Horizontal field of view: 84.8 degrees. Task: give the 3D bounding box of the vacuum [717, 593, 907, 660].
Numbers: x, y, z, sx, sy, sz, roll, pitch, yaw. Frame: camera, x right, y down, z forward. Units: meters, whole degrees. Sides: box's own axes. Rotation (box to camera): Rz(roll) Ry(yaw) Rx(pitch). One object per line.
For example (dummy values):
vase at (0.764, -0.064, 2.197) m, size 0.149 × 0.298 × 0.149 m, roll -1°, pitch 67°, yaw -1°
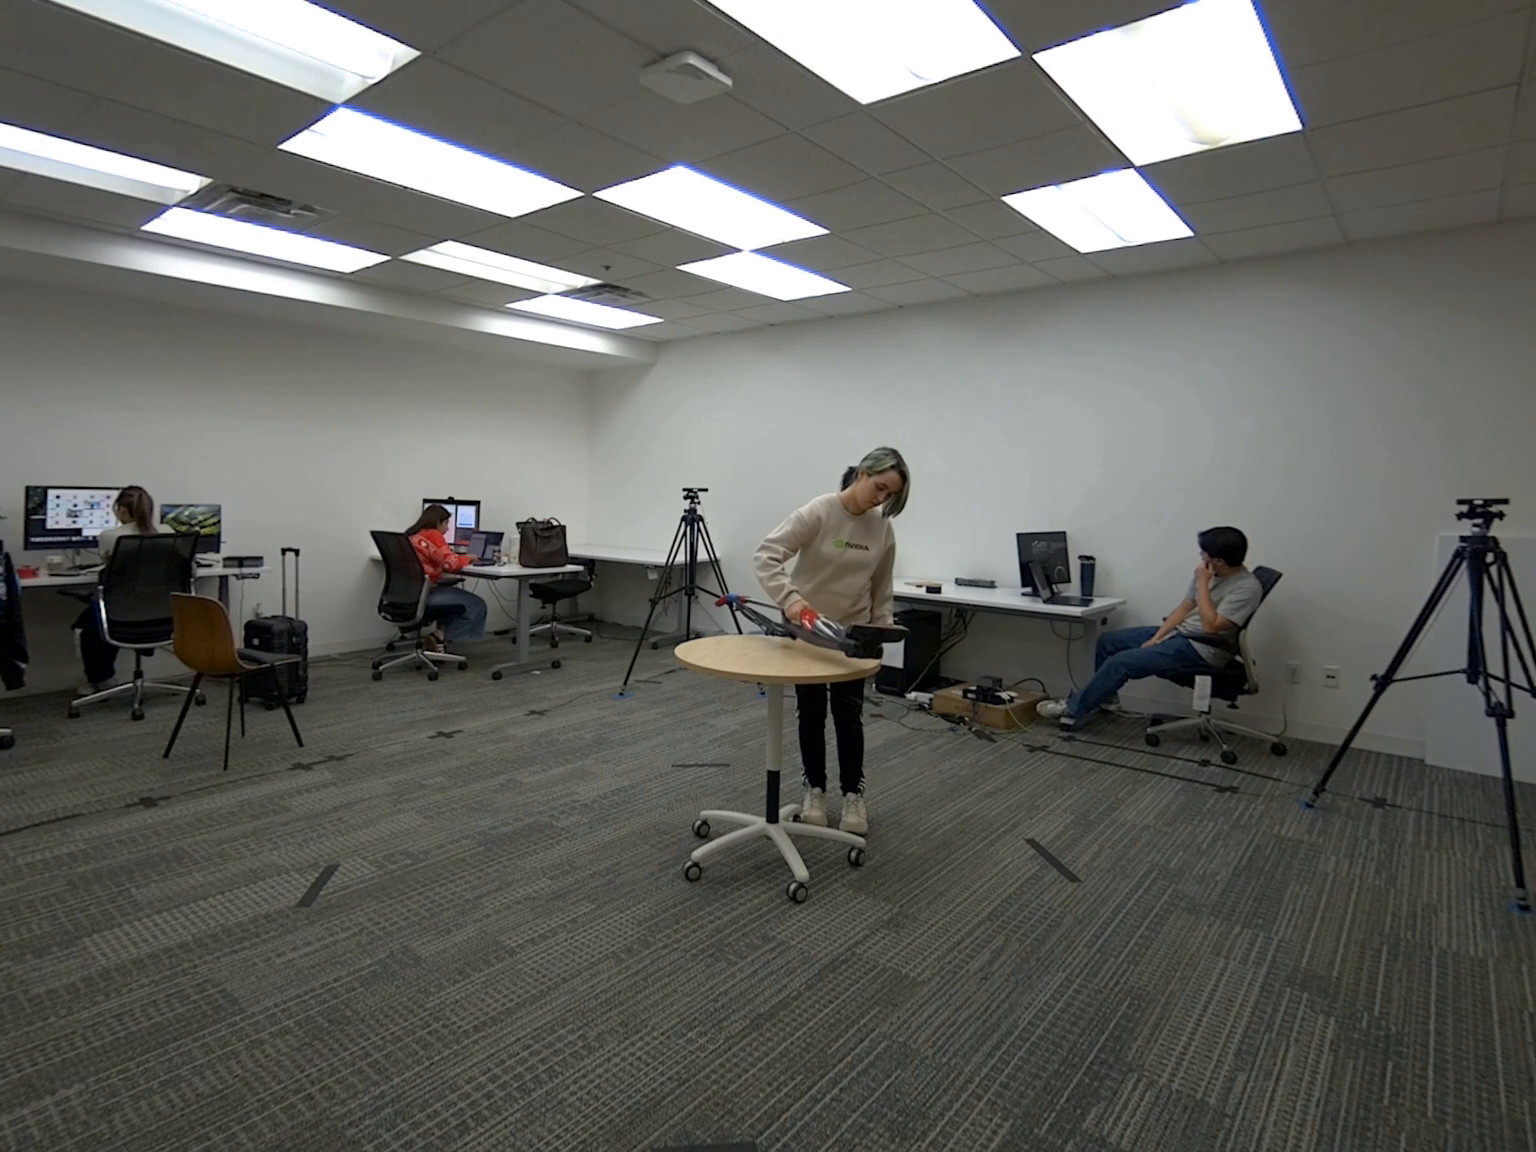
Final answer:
vacuum at (0.063, 0.185, 3.310) m, size 0.245 × 0.144 × 1.083 m, roll 5°, pitch 4°, yaw -32°
